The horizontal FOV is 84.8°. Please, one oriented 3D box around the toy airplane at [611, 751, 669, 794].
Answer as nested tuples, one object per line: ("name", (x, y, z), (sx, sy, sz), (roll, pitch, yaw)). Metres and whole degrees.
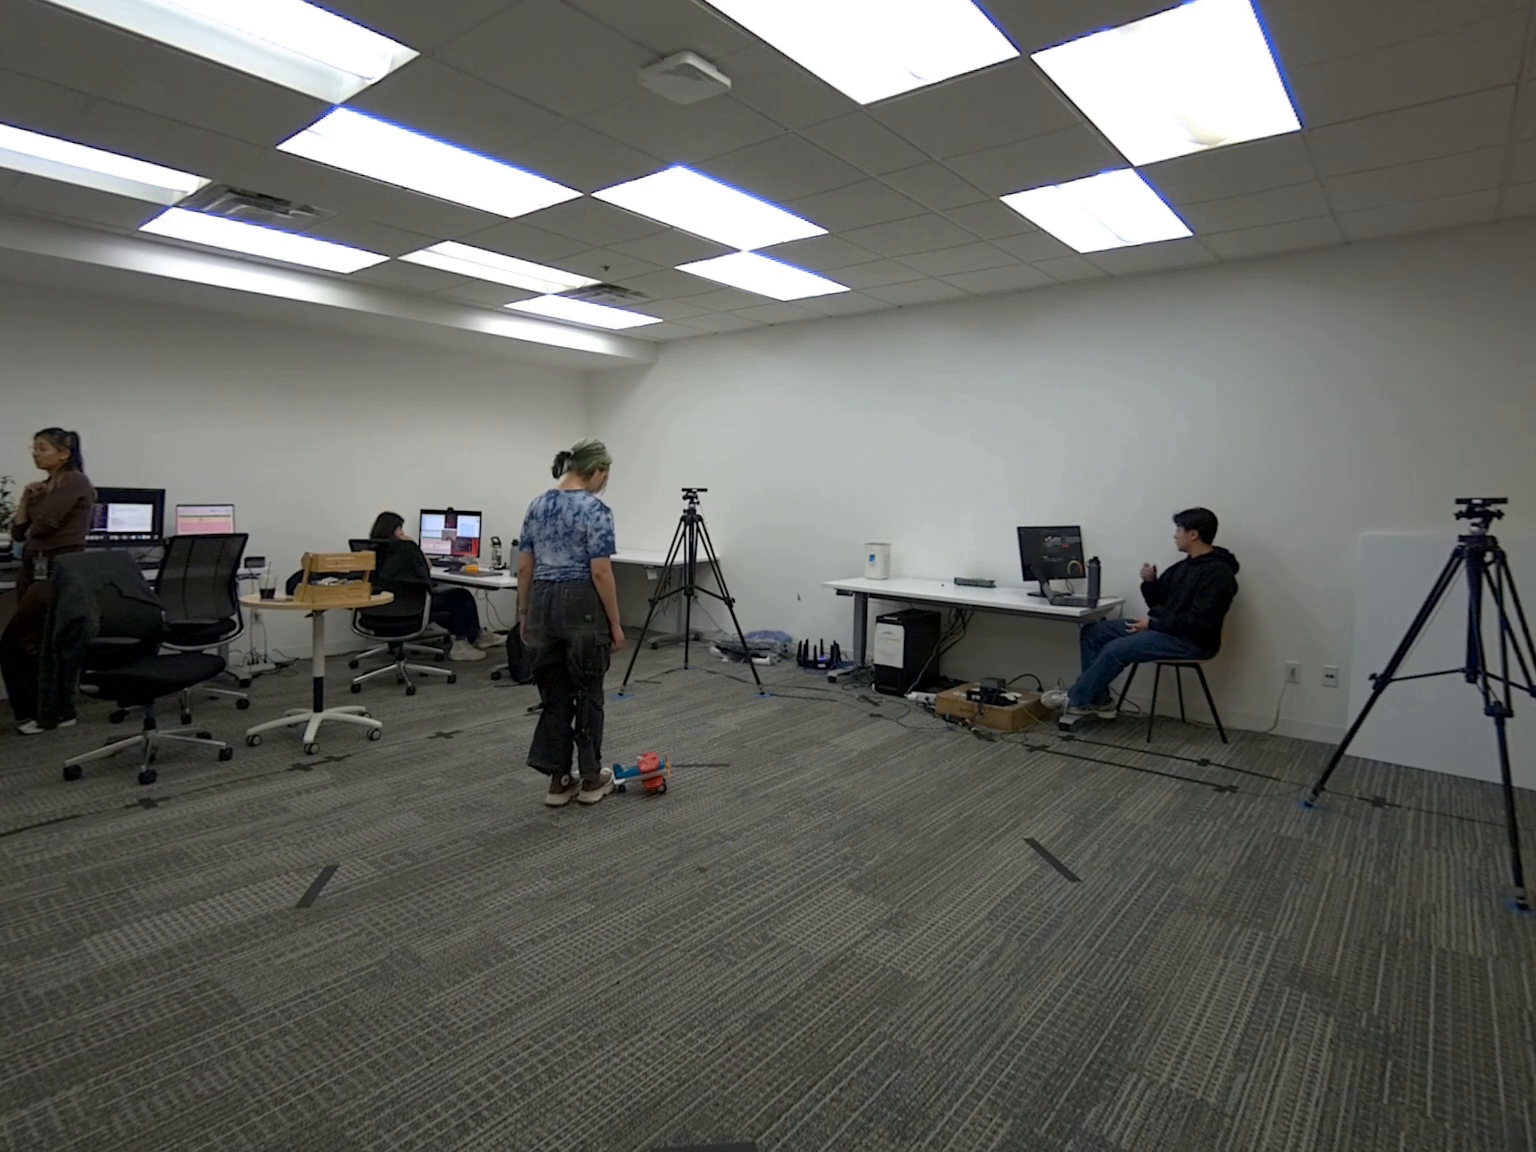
("toy airplane", (-0.593, 0.918, 3.906), (0.252, 0.156, 0.259), (0, 6, -31))
